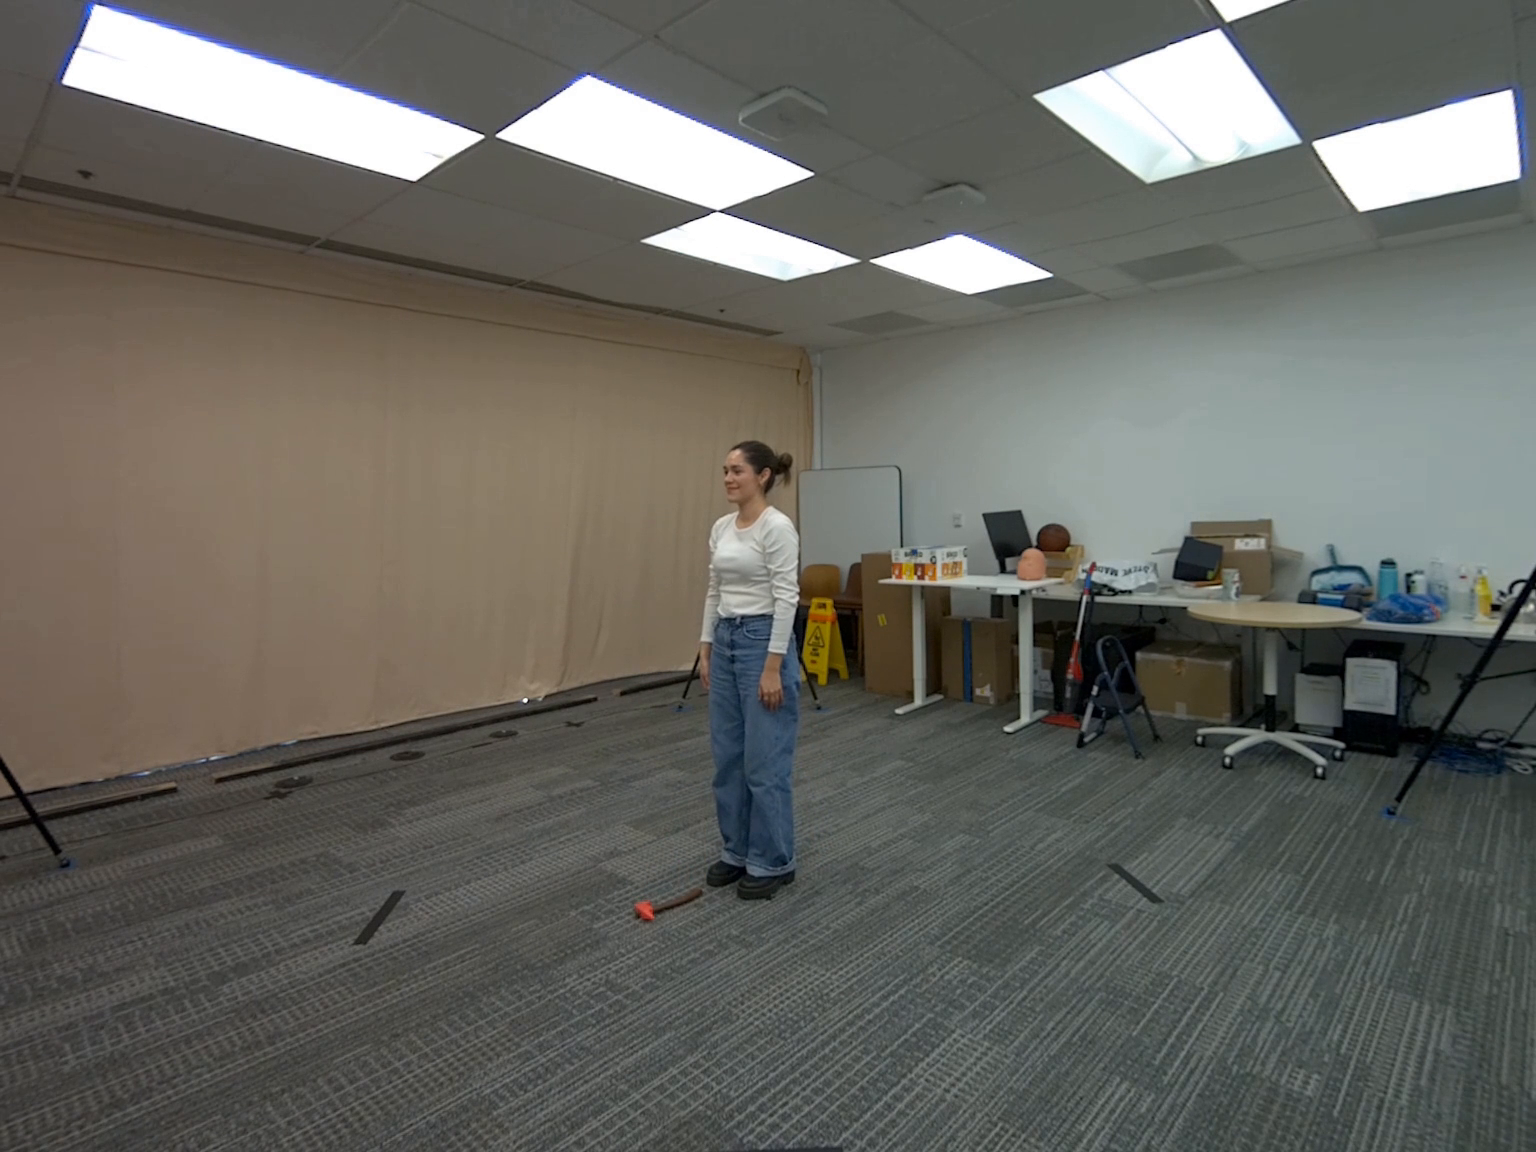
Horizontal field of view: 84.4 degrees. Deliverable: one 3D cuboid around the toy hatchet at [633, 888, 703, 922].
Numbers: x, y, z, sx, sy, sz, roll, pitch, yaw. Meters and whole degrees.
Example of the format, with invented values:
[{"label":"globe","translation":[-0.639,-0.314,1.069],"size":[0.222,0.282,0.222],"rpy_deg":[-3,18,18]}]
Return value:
[{"label":"toy hatchet","translation":[-0.356,1.138,2.944],"size":[0.135,0.029,0.262],"rpy_deg":[-1,2,39]}]
